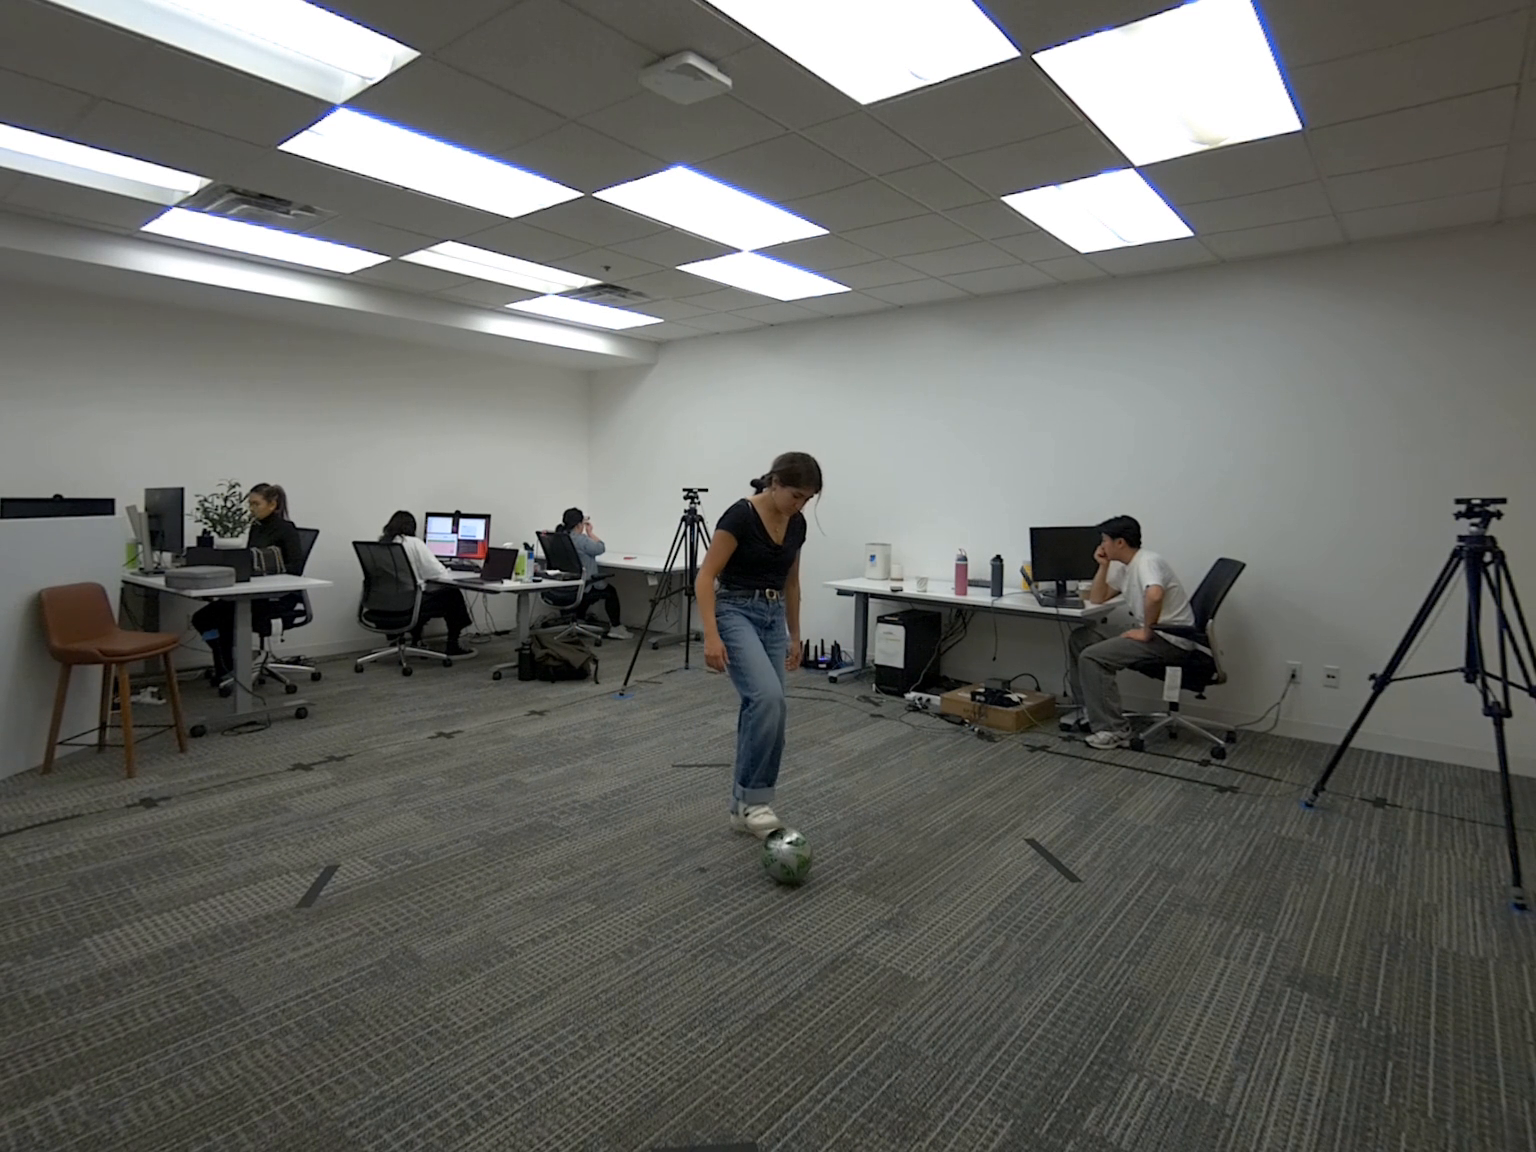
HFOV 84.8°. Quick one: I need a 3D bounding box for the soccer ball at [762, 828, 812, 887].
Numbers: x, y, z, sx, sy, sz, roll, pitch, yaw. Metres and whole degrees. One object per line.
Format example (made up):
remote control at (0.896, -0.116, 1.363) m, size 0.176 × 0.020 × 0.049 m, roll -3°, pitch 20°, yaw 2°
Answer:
soccer ball at (0.064, 0.985, 3.034) m, size 0.187 × 0.187 × 0.188 m, roll 1°, pitch 4°, yaw -2°
